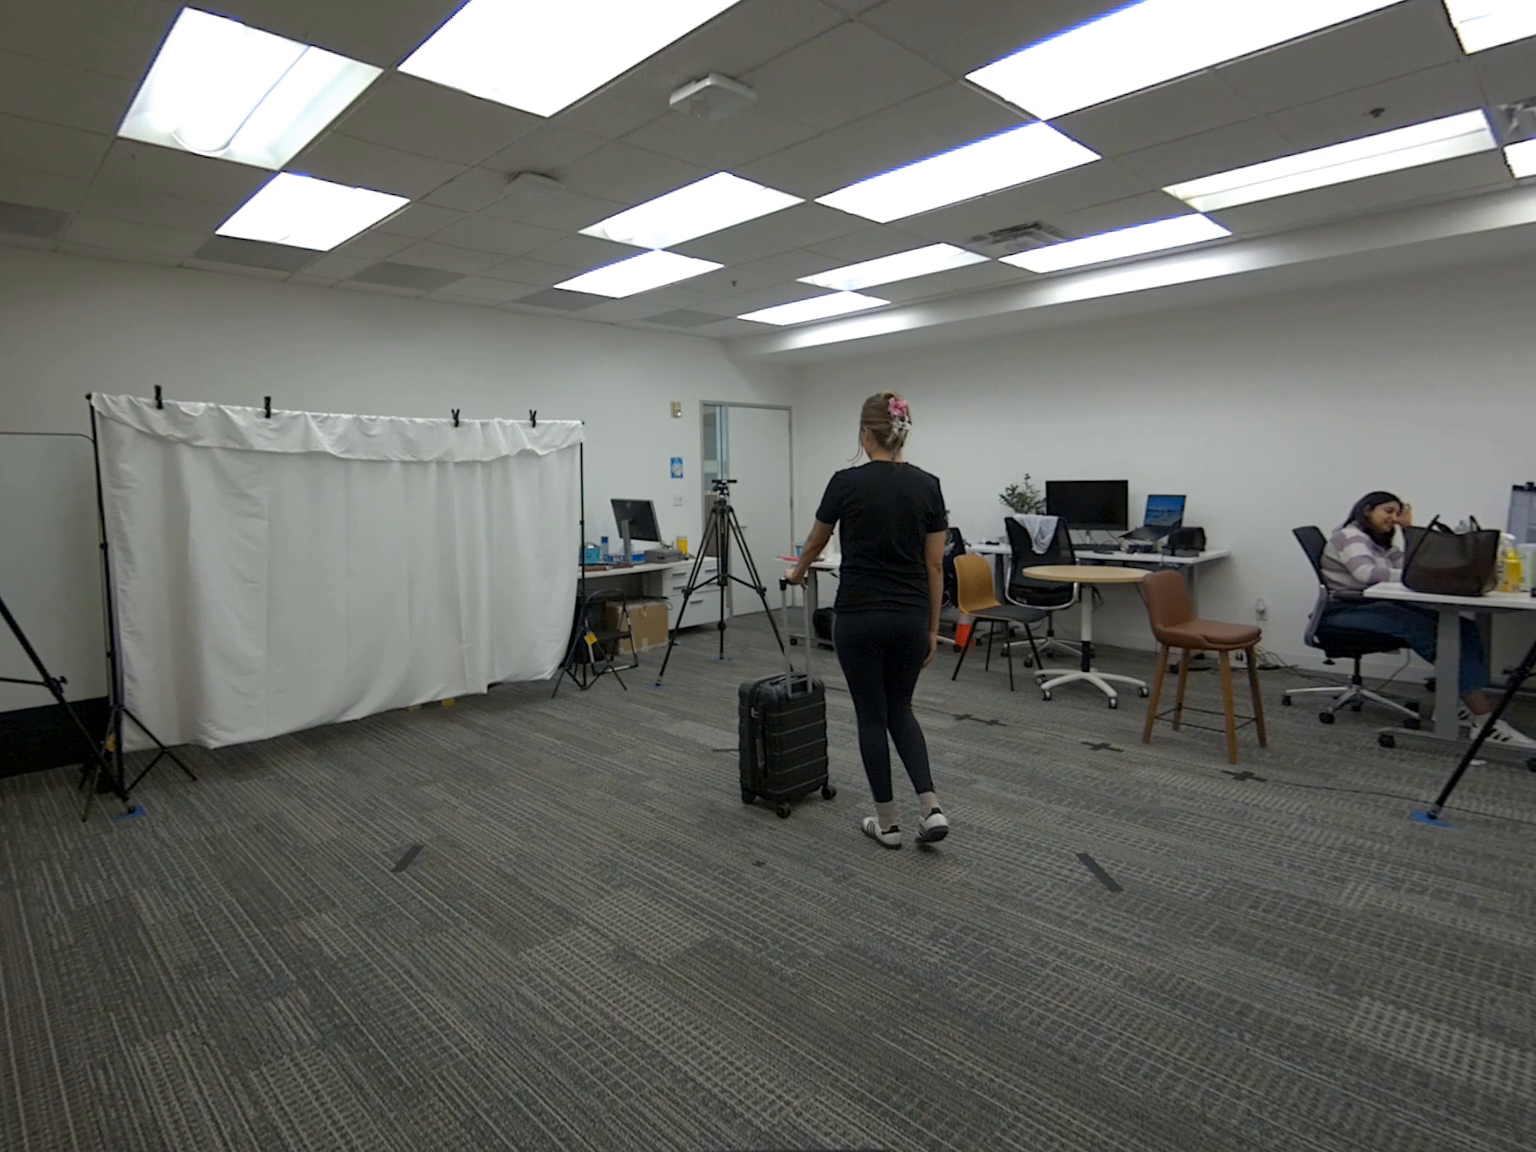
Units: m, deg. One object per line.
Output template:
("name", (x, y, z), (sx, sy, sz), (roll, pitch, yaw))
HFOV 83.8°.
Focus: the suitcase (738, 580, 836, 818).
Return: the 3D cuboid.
("suitcase", (0.052, 0.504, 3.713), (0.374, 0.977, 0.264), (-5, 2, -42))
